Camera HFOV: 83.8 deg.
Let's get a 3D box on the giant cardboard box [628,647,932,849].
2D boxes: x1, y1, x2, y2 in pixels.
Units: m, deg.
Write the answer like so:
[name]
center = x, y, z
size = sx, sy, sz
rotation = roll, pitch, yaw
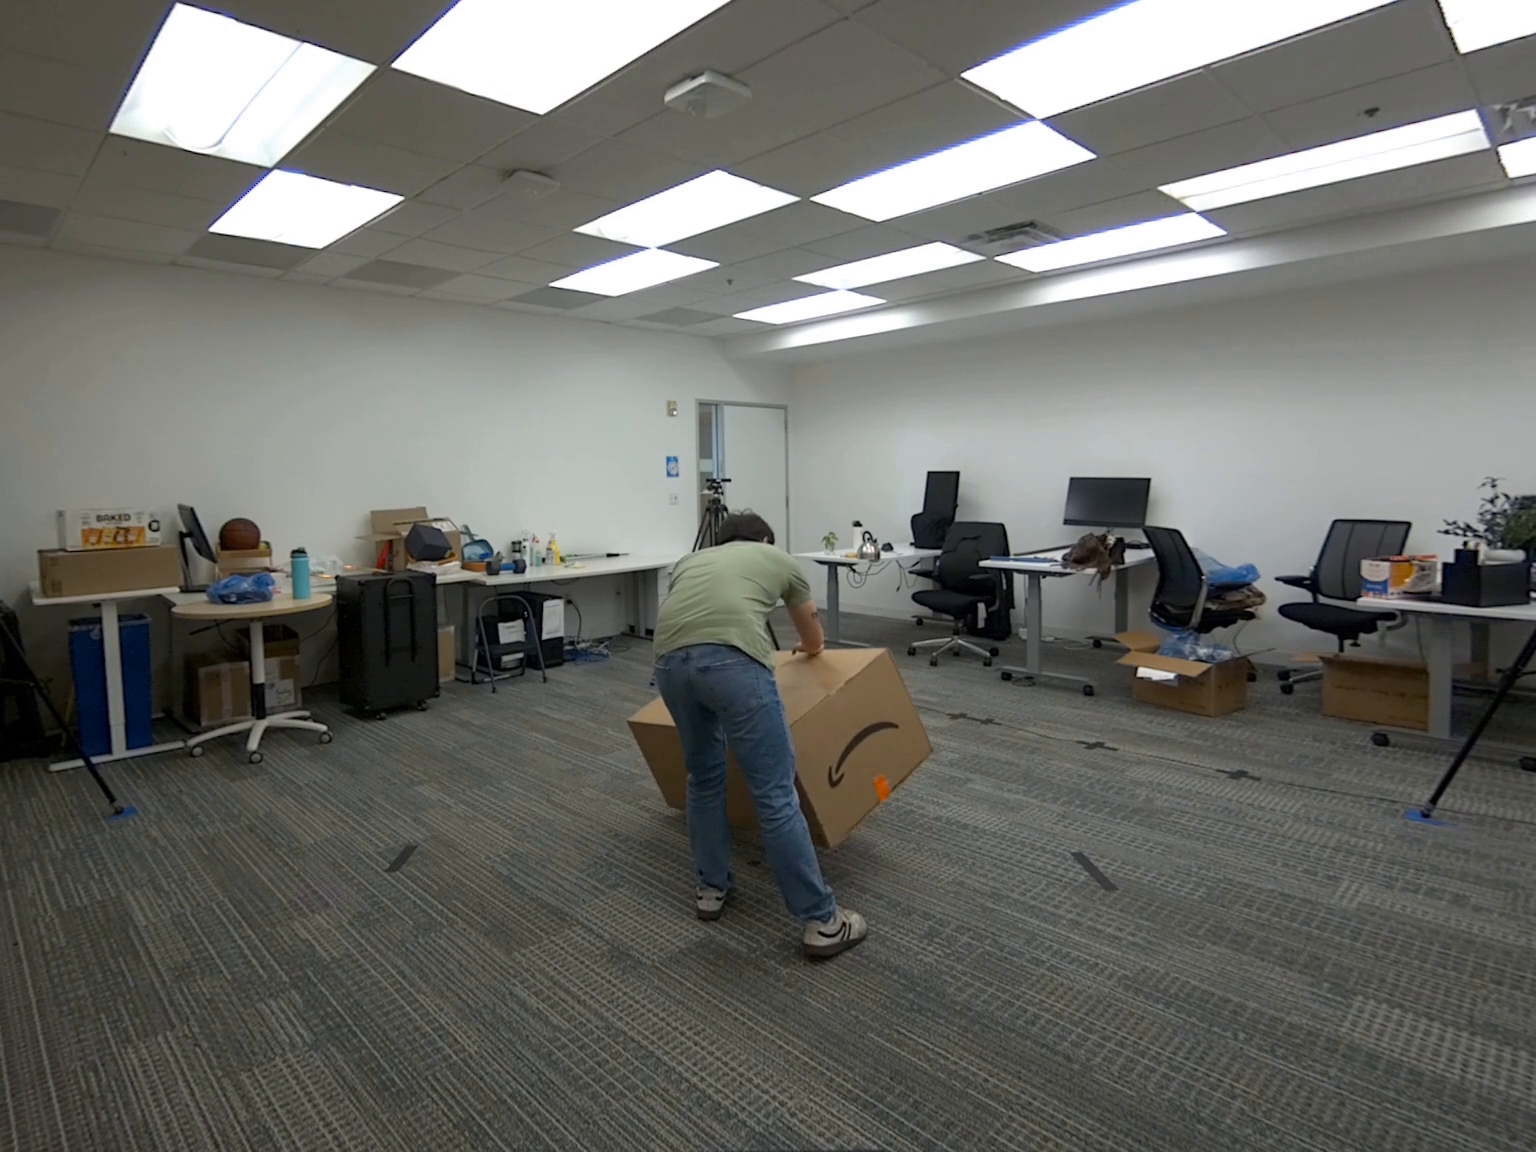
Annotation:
[giant cardboard box]
center = 0.009, 0.607, 3.291
size = 0.571, 0.421, 1.049
rotation = -31, 14, -35
